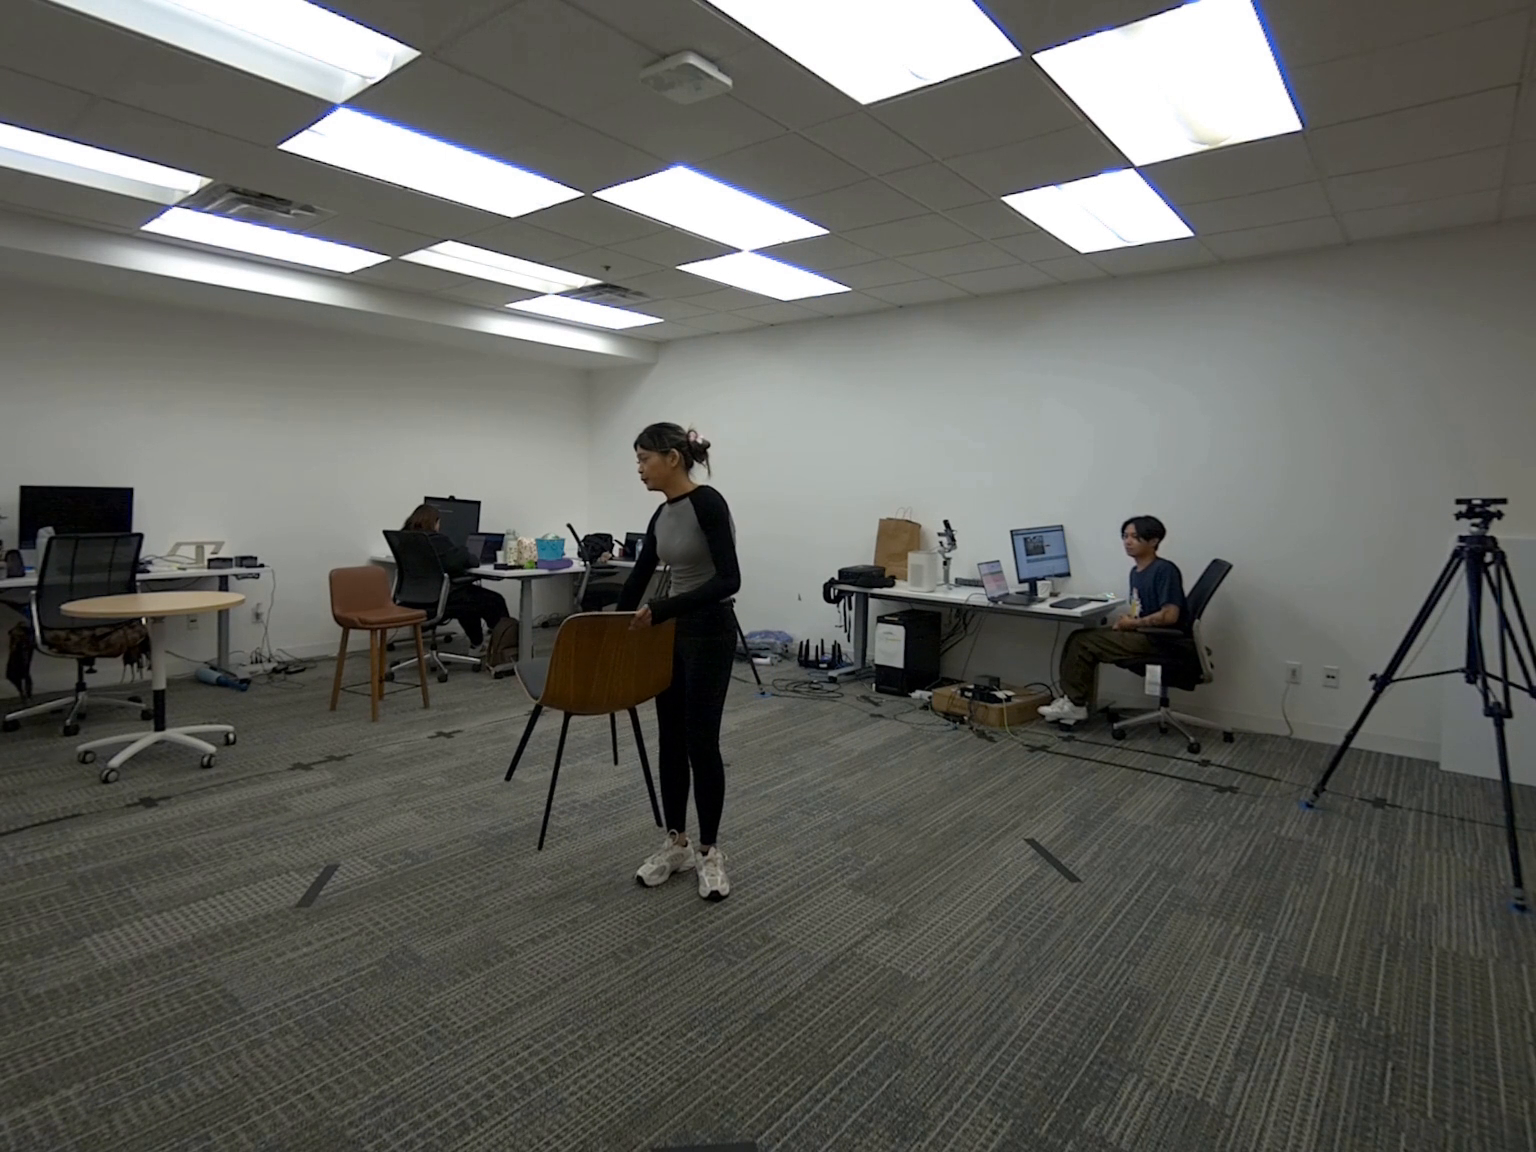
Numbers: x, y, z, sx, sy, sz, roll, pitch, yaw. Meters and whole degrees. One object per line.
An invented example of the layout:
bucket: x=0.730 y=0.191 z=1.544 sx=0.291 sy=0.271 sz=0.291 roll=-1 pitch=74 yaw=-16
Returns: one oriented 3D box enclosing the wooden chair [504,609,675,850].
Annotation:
wooden chair: x=-0.644 y=0.426 z=2.998 sx=0.465 sy=0.865 sz=0.544 roll=-1 pitch=21 yaw=-30
